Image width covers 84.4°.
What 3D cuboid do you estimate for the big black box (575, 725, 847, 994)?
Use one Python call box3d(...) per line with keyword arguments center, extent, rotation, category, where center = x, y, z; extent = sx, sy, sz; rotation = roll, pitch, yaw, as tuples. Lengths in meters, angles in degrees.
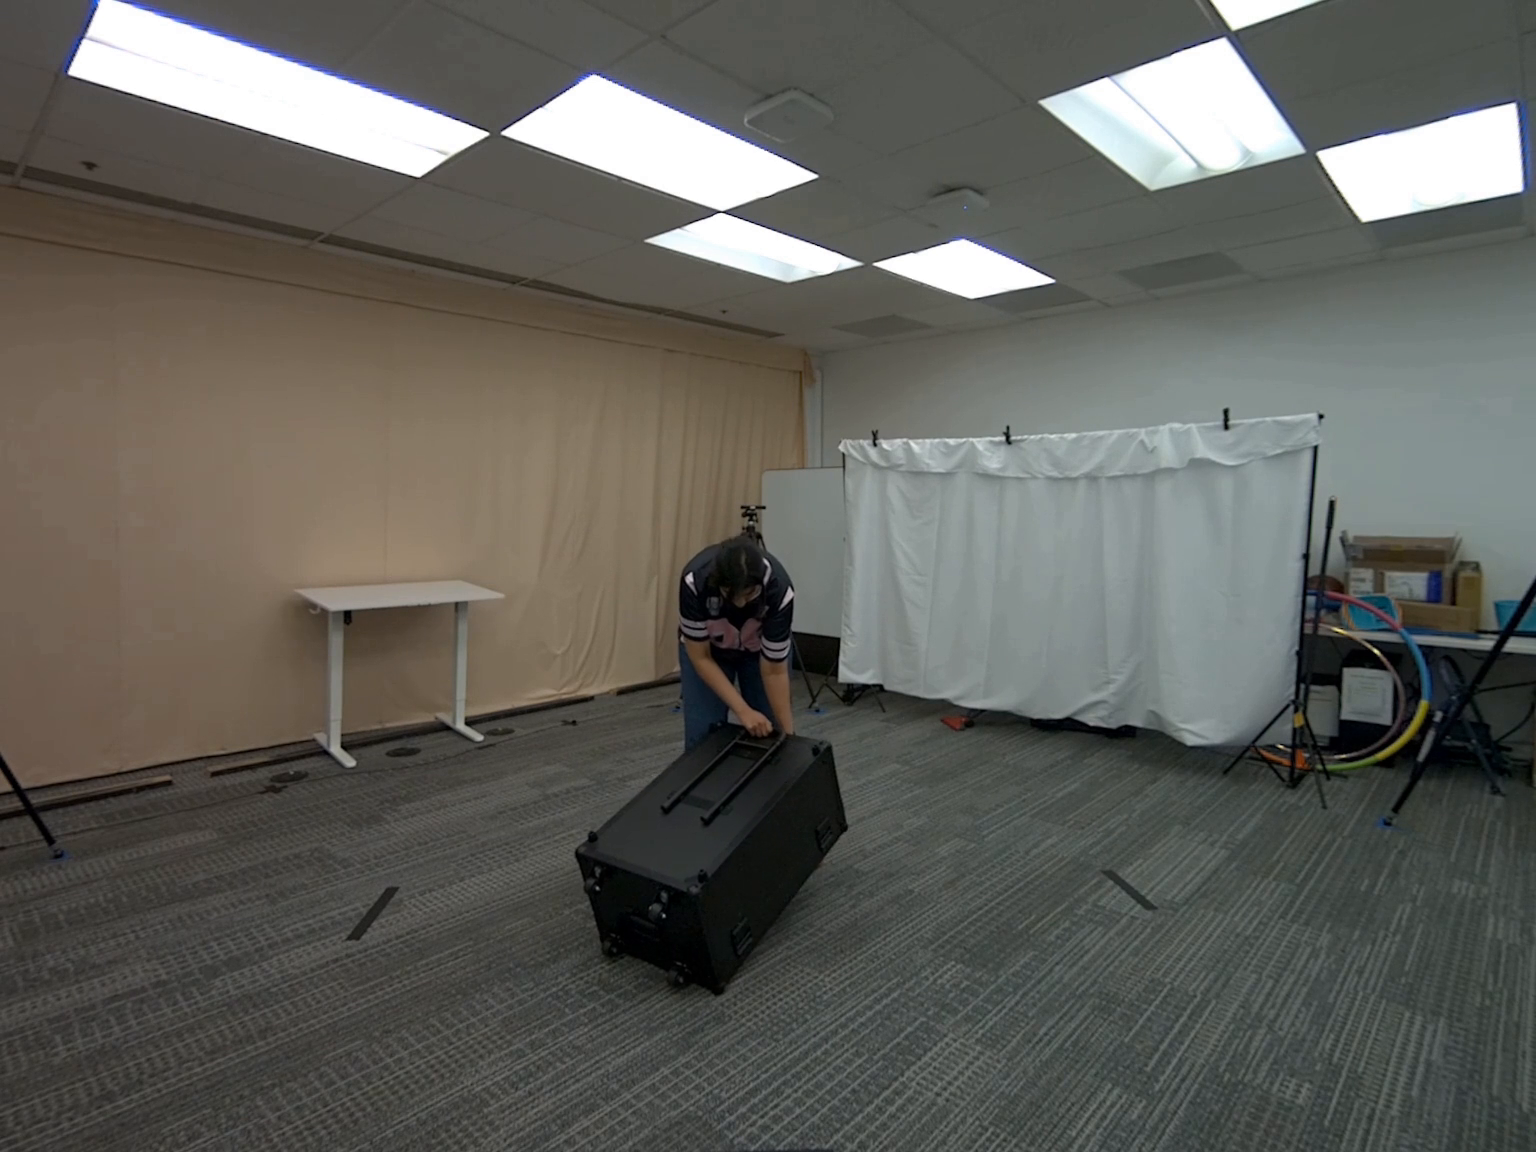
box3d(center=(-0.168, 0.884, 2.736), extent=(0.540, 0.379, 0.854), rotation=(4, 25, 36), category="big black box")
